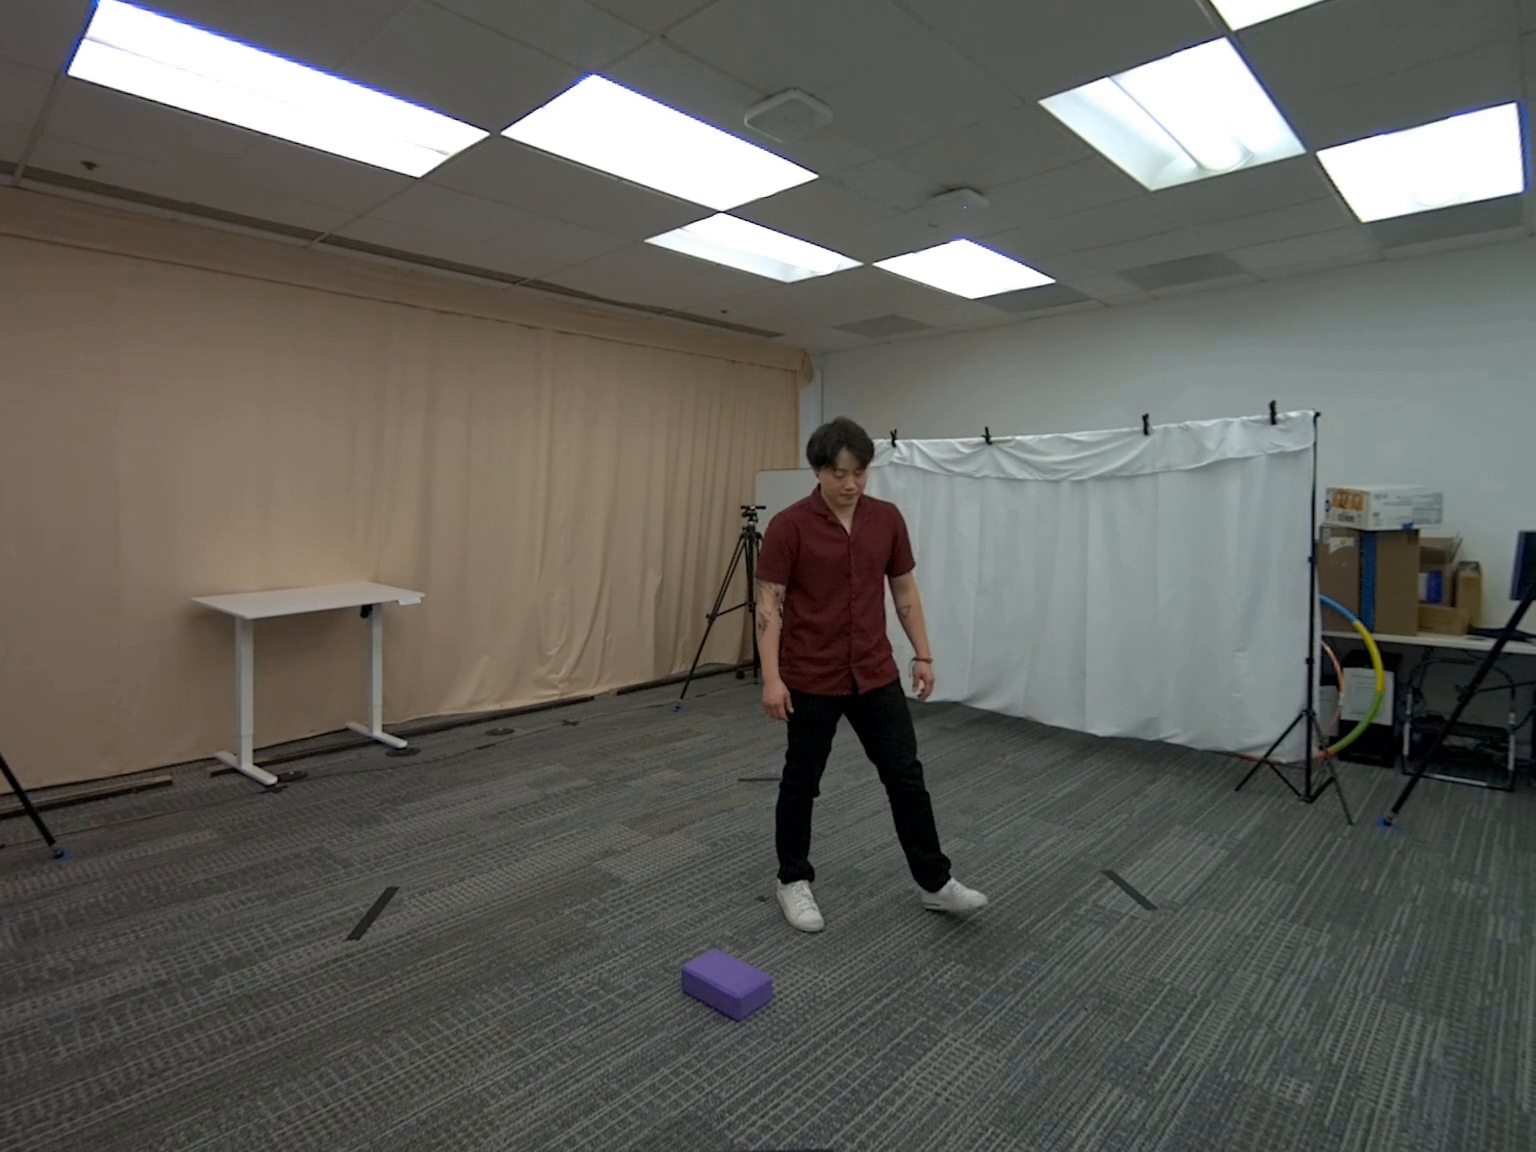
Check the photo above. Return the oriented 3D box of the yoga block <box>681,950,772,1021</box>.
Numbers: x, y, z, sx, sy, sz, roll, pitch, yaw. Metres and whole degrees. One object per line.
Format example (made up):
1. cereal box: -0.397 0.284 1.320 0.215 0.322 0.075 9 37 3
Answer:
1. yoga block: -0.117 1.156 2.386 0.237 0.076 0.144 4 6 40
